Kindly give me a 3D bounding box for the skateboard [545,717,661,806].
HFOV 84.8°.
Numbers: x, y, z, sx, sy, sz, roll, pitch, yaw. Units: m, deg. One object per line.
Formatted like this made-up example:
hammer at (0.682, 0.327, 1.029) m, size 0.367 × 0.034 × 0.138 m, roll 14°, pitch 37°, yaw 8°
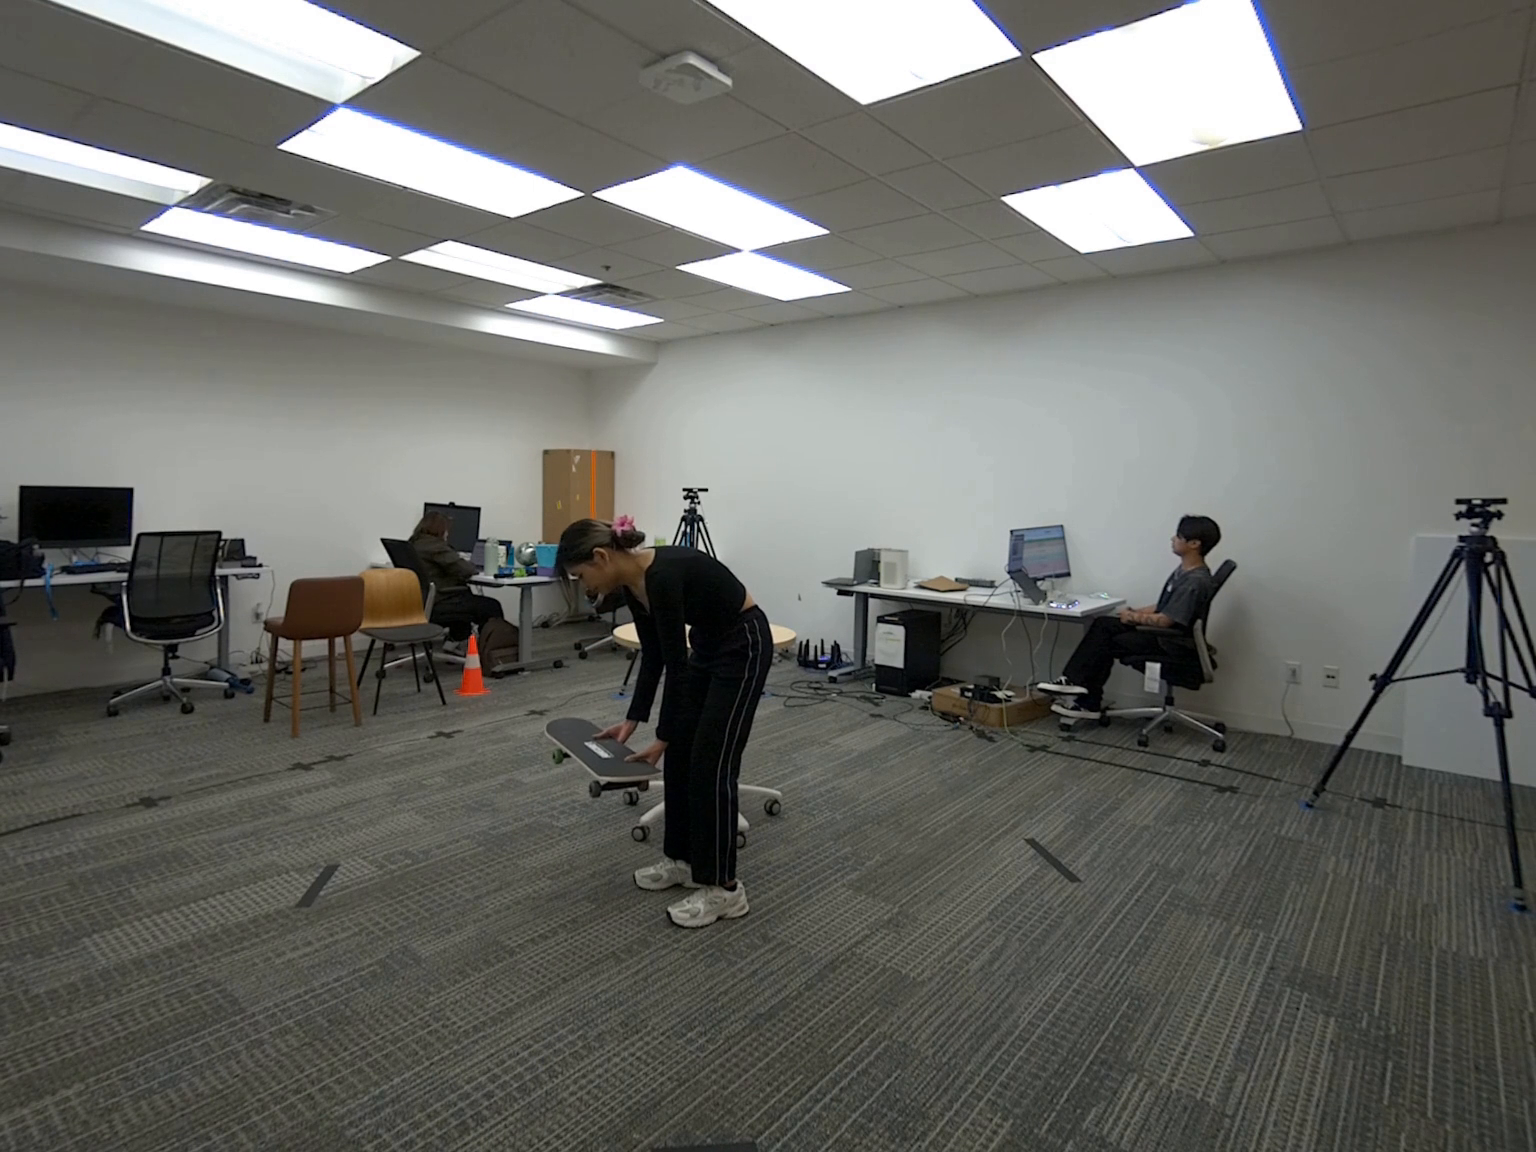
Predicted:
skateboard at (-0.568, 0.596, 2.756) m, size 0.188 × 0.110 × 0.808 m, roll 1°, pitch 3°, yaw -29°
